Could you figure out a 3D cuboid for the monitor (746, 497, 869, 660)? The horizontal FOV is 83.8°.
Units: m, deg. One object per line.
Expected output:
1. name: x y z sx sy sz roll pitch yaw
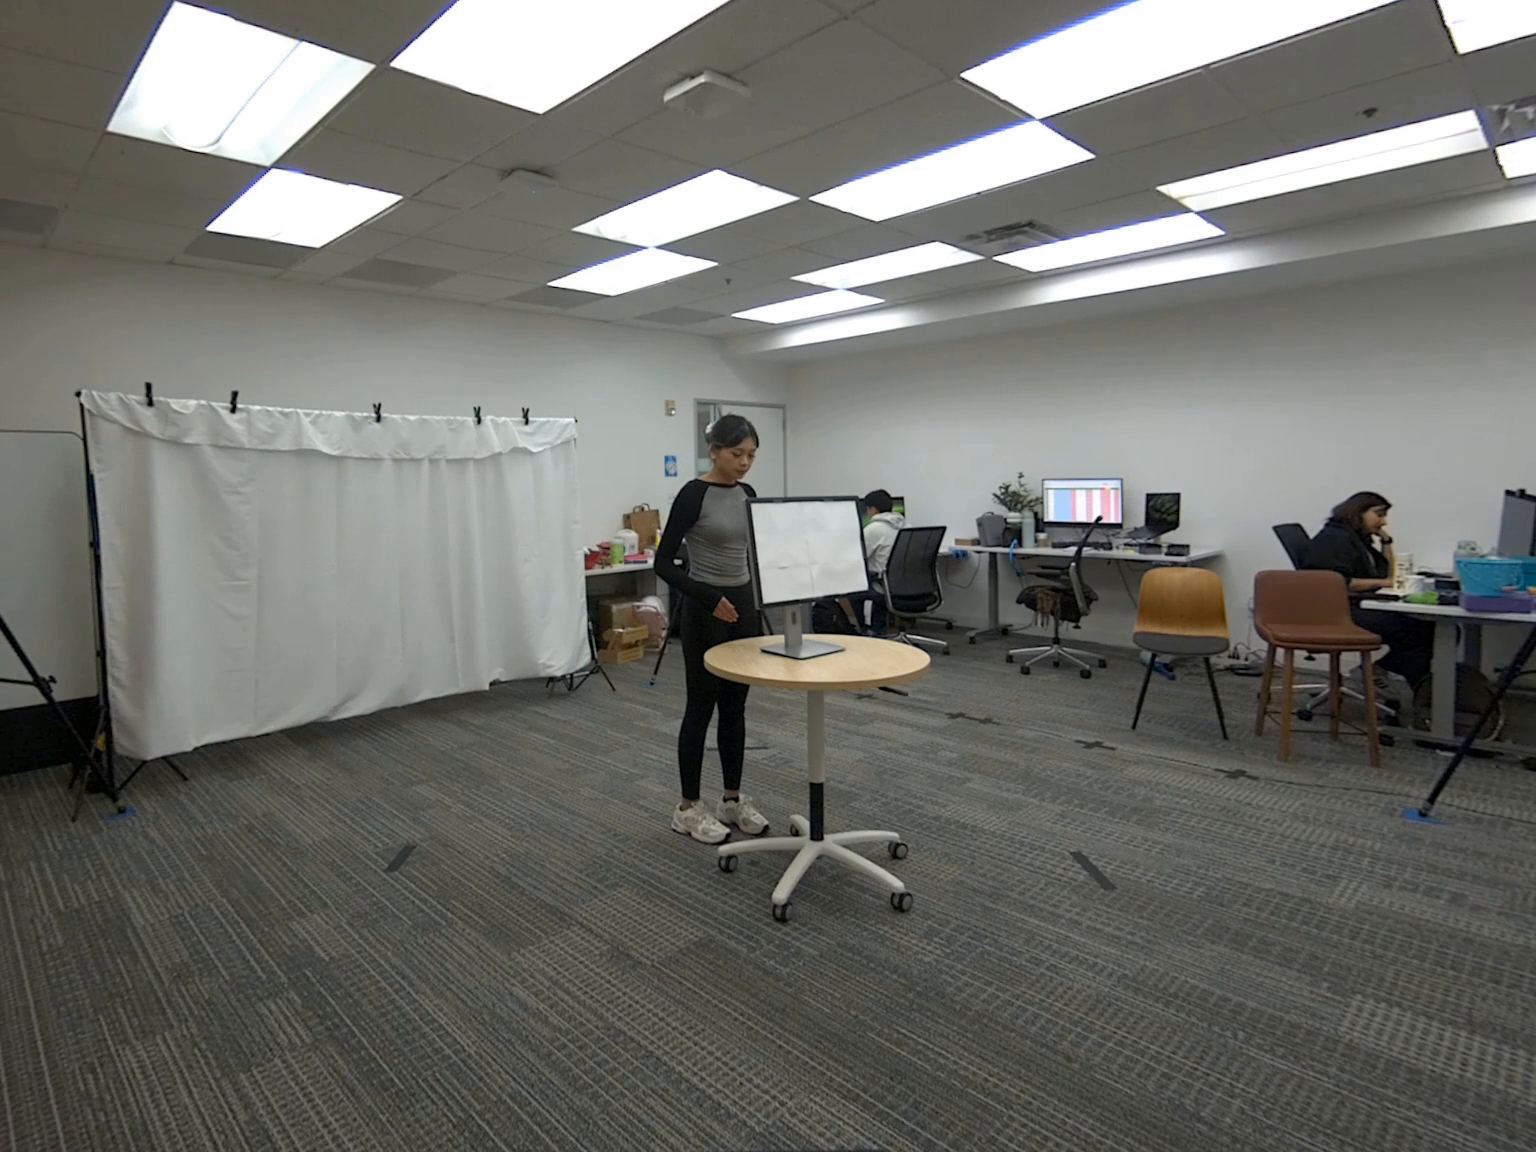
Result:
1. monitor: 0.124 -0.001 2.983 0.525 0.520 0.193 -5 8 -44
